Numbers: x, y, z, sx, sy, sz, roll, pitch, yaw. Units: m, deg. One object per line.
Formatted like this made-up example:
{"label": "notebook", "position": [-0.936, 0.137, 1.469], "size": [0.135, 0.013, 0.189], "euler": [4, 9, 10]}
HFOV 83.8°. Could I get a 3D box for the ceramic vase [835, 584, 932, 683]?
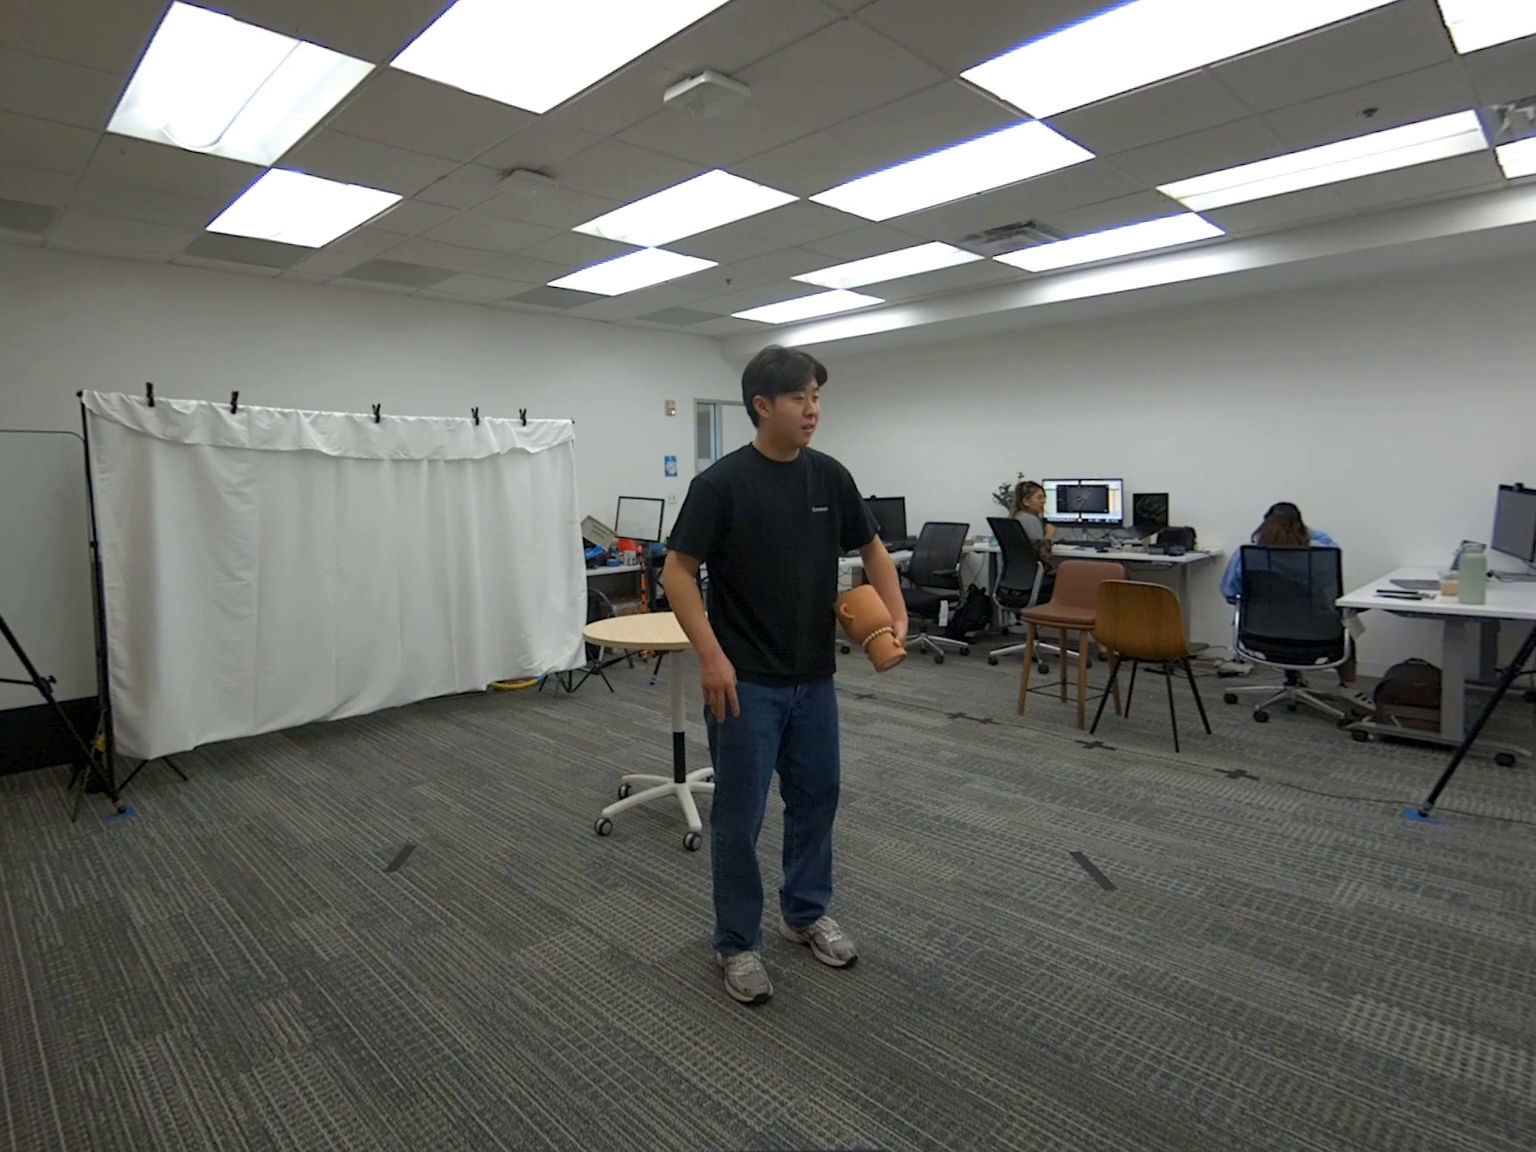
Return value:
{"label": "ceramic vase", "position": [0.308, 0.146, 2.390], "size": [0.157, 0.225, 0.133], "euler": [-21, -22, -19]}
